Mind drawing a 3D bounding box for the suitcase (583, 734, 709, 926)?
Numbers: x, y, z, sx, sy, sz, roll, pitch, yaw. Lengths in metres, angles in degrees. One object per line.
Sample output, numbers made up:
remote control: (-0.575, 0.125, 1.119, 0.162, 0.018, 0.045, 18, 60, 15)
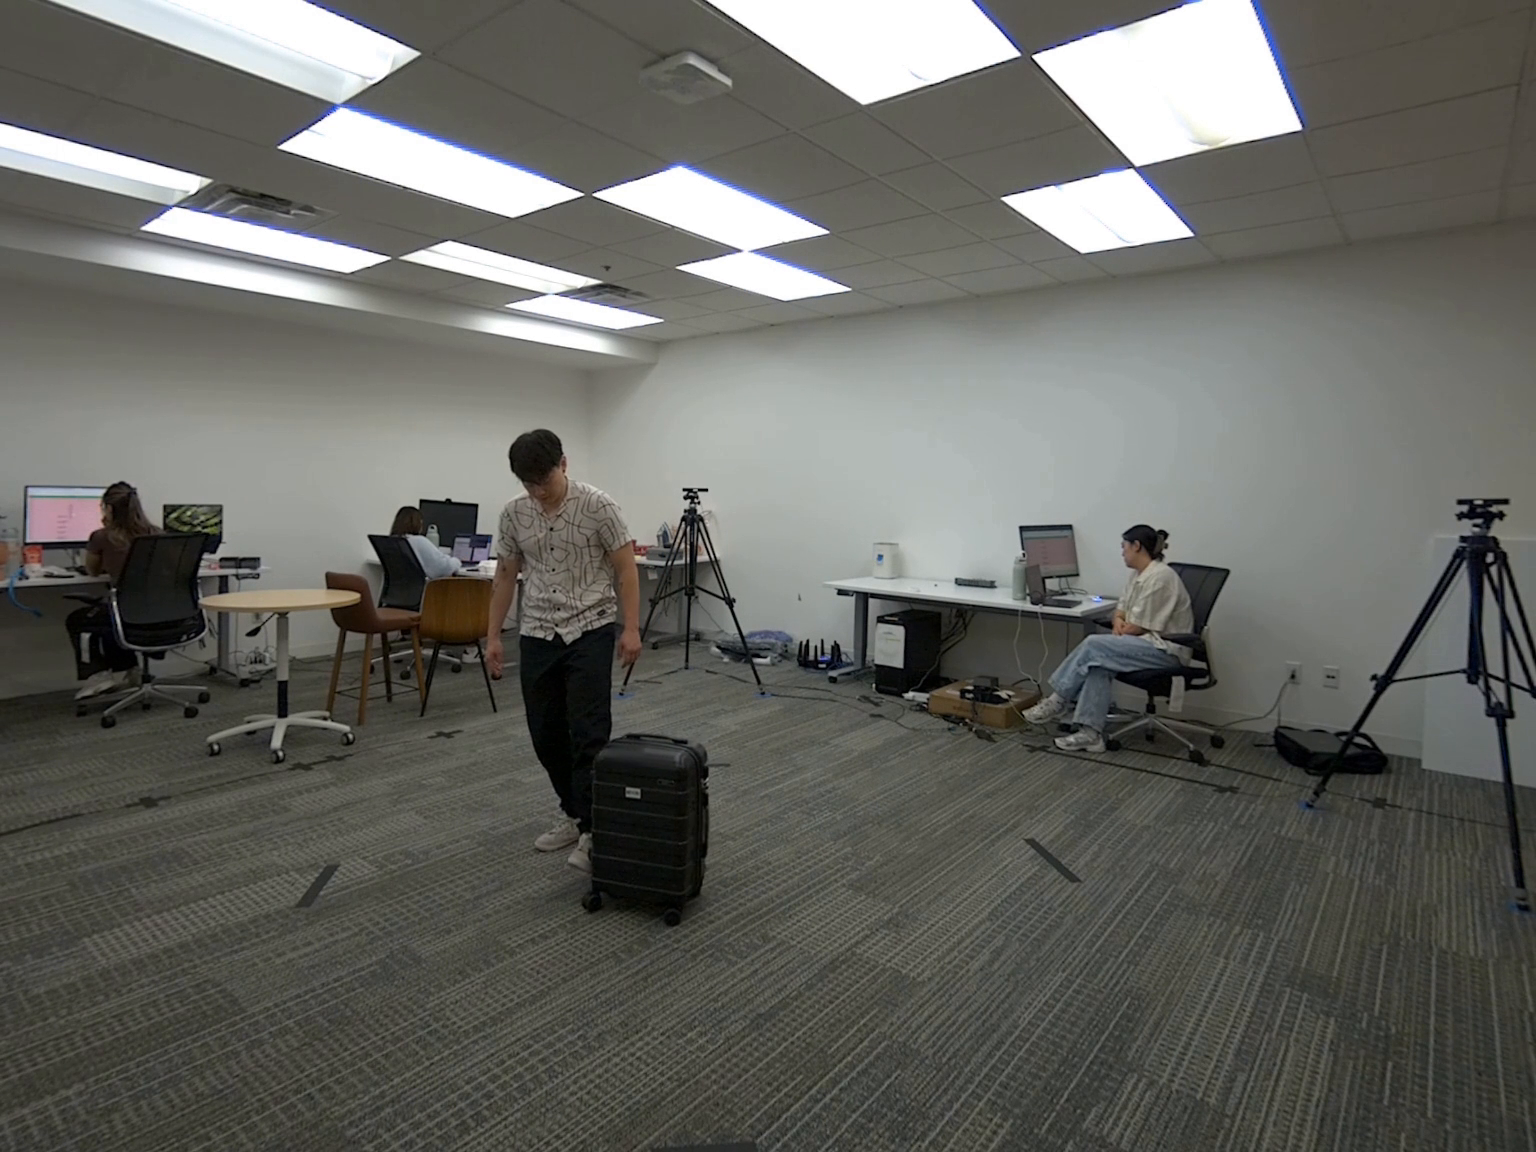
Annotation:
suitcase: (-0.402, 0.815, 2.841, 0.382, 0.547, 0.245, 4, 4, 16)
